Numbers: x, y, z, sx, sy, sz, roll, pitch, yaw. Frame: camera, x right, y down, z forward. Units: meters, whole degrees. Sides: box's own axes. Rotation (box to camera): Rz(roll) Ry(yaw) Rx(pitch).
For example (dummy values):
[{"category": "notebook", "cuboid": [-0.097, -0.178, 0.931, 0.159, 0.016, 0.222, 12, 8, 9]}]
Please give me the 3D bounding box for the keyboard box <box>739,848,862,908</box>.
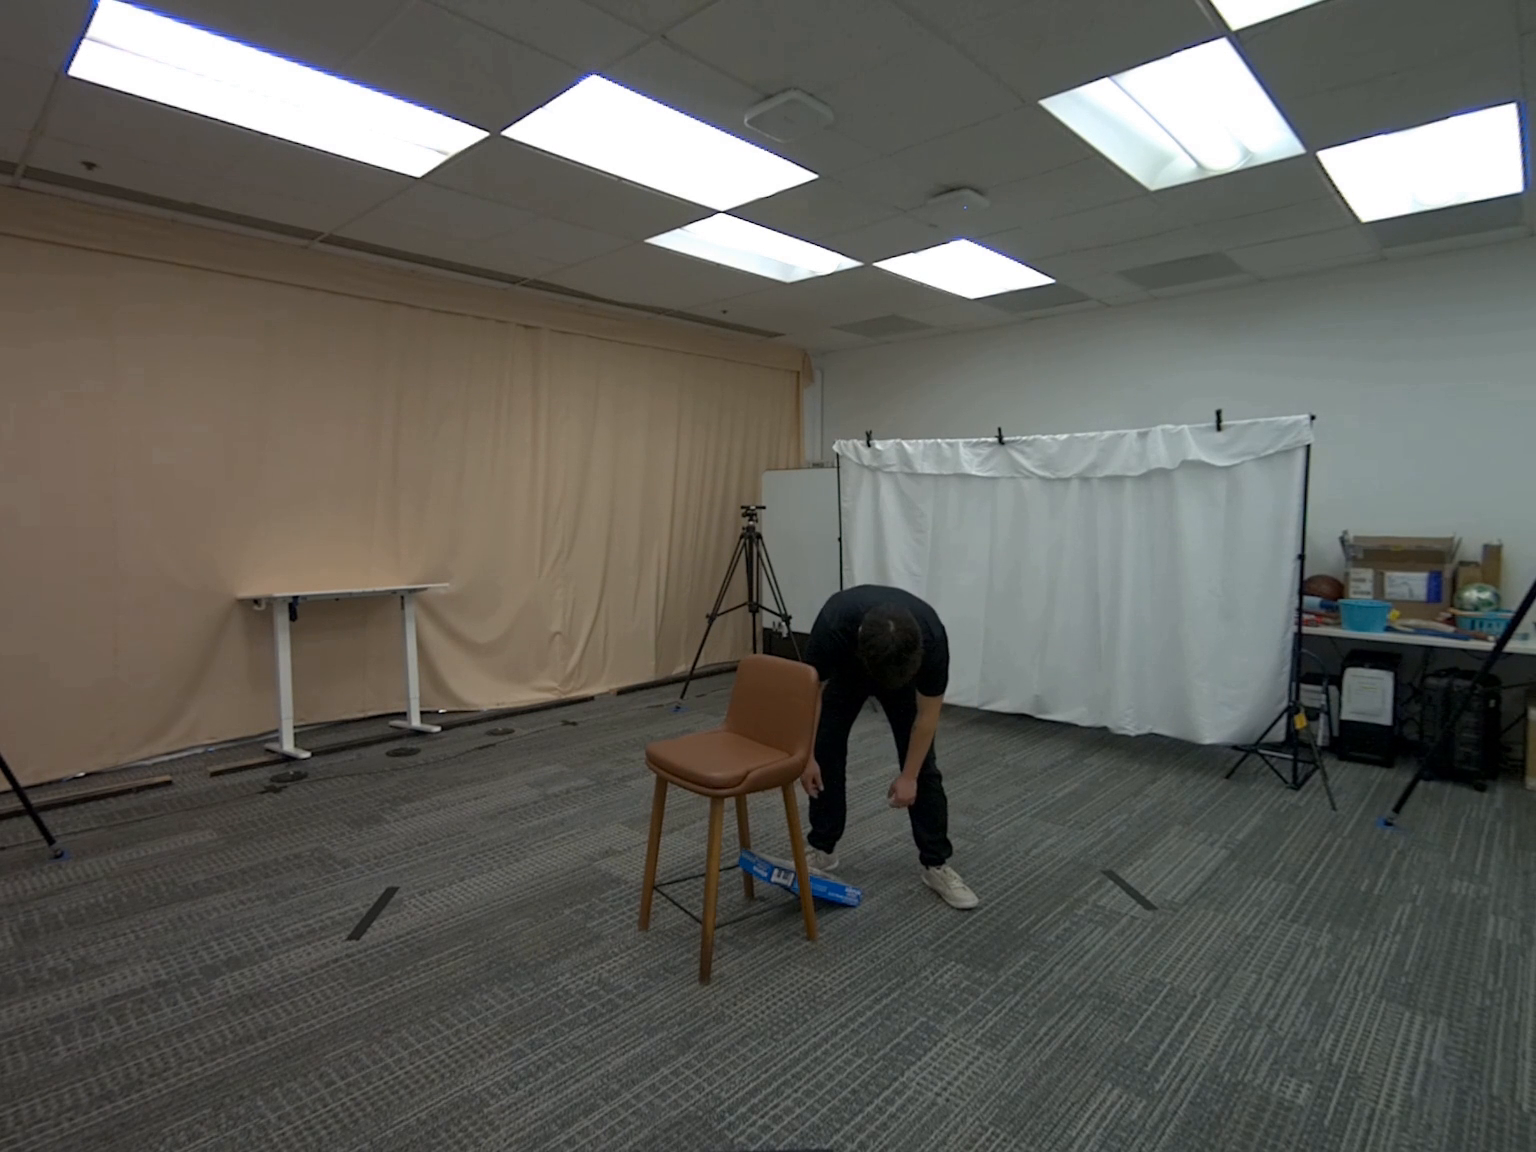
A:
[{"category": "keyboard box", "cuboid": [0.113, 1.036, 2.884, 0.422, 0.059, 0.181, 28, -13, -33]}]
